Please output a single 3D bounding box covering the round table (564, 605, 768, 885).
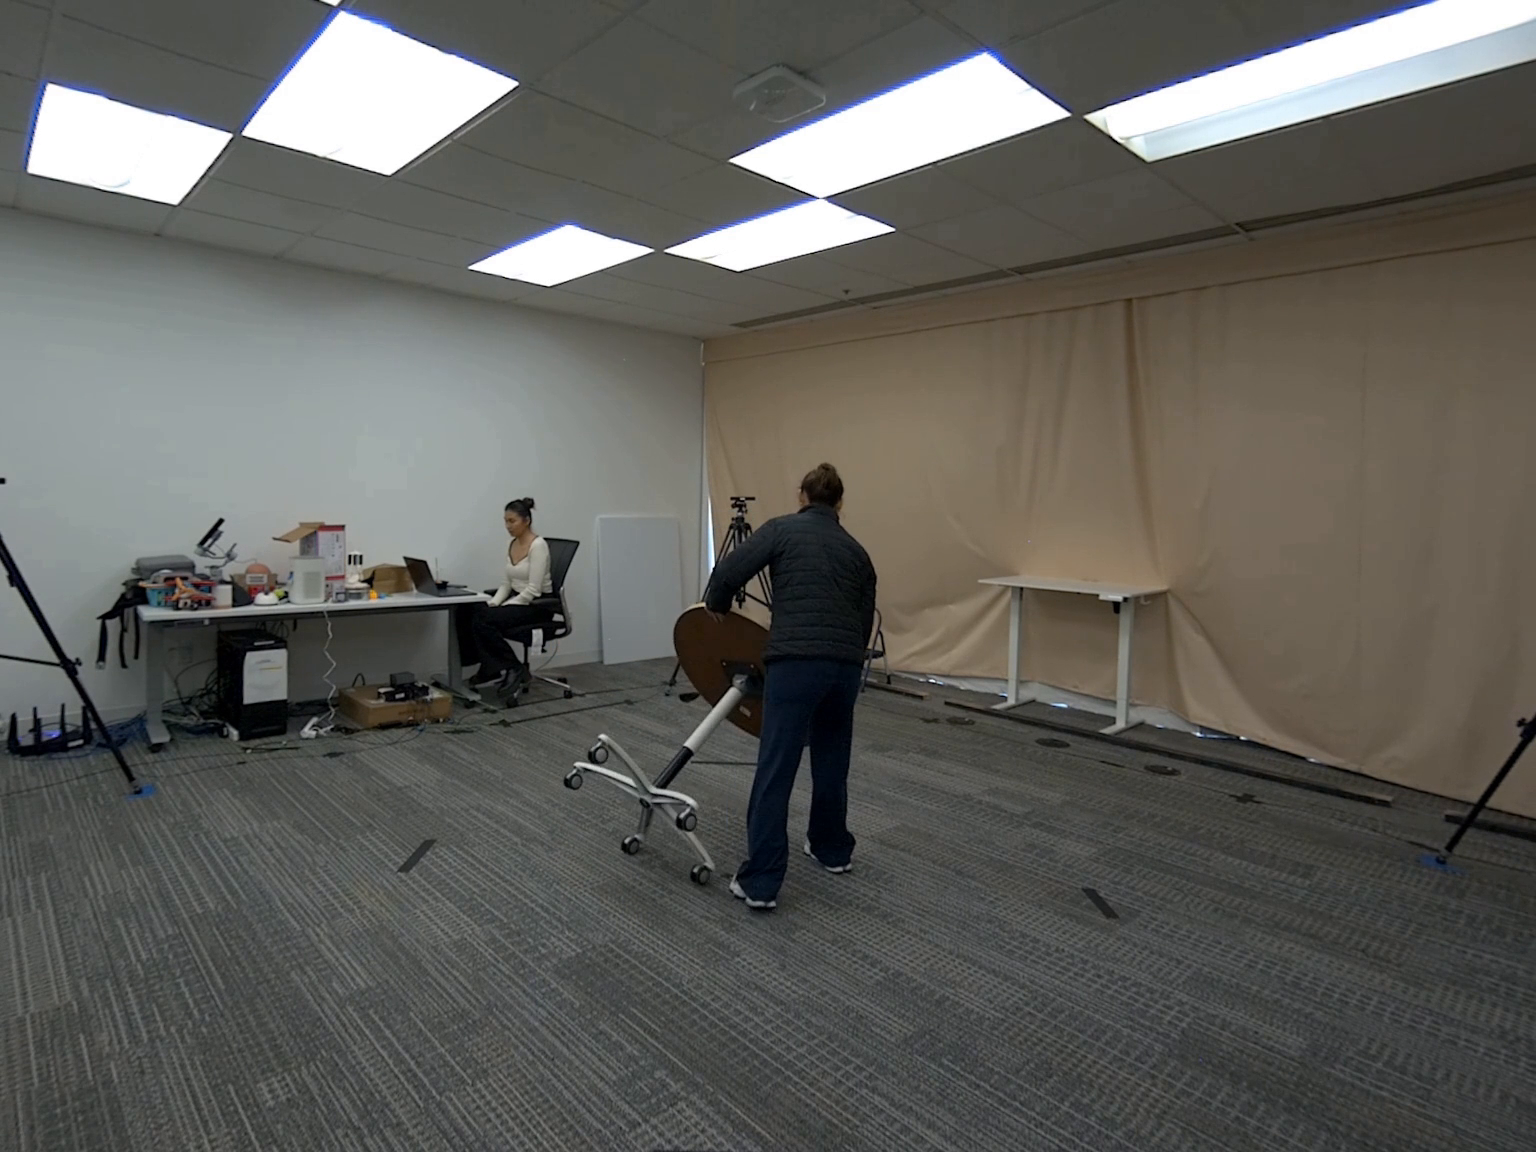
[{"bbox_3d":[-0.285,0.637,3.241,0.804,0.766,0.786,5,38,38],"label":"round table"}]
